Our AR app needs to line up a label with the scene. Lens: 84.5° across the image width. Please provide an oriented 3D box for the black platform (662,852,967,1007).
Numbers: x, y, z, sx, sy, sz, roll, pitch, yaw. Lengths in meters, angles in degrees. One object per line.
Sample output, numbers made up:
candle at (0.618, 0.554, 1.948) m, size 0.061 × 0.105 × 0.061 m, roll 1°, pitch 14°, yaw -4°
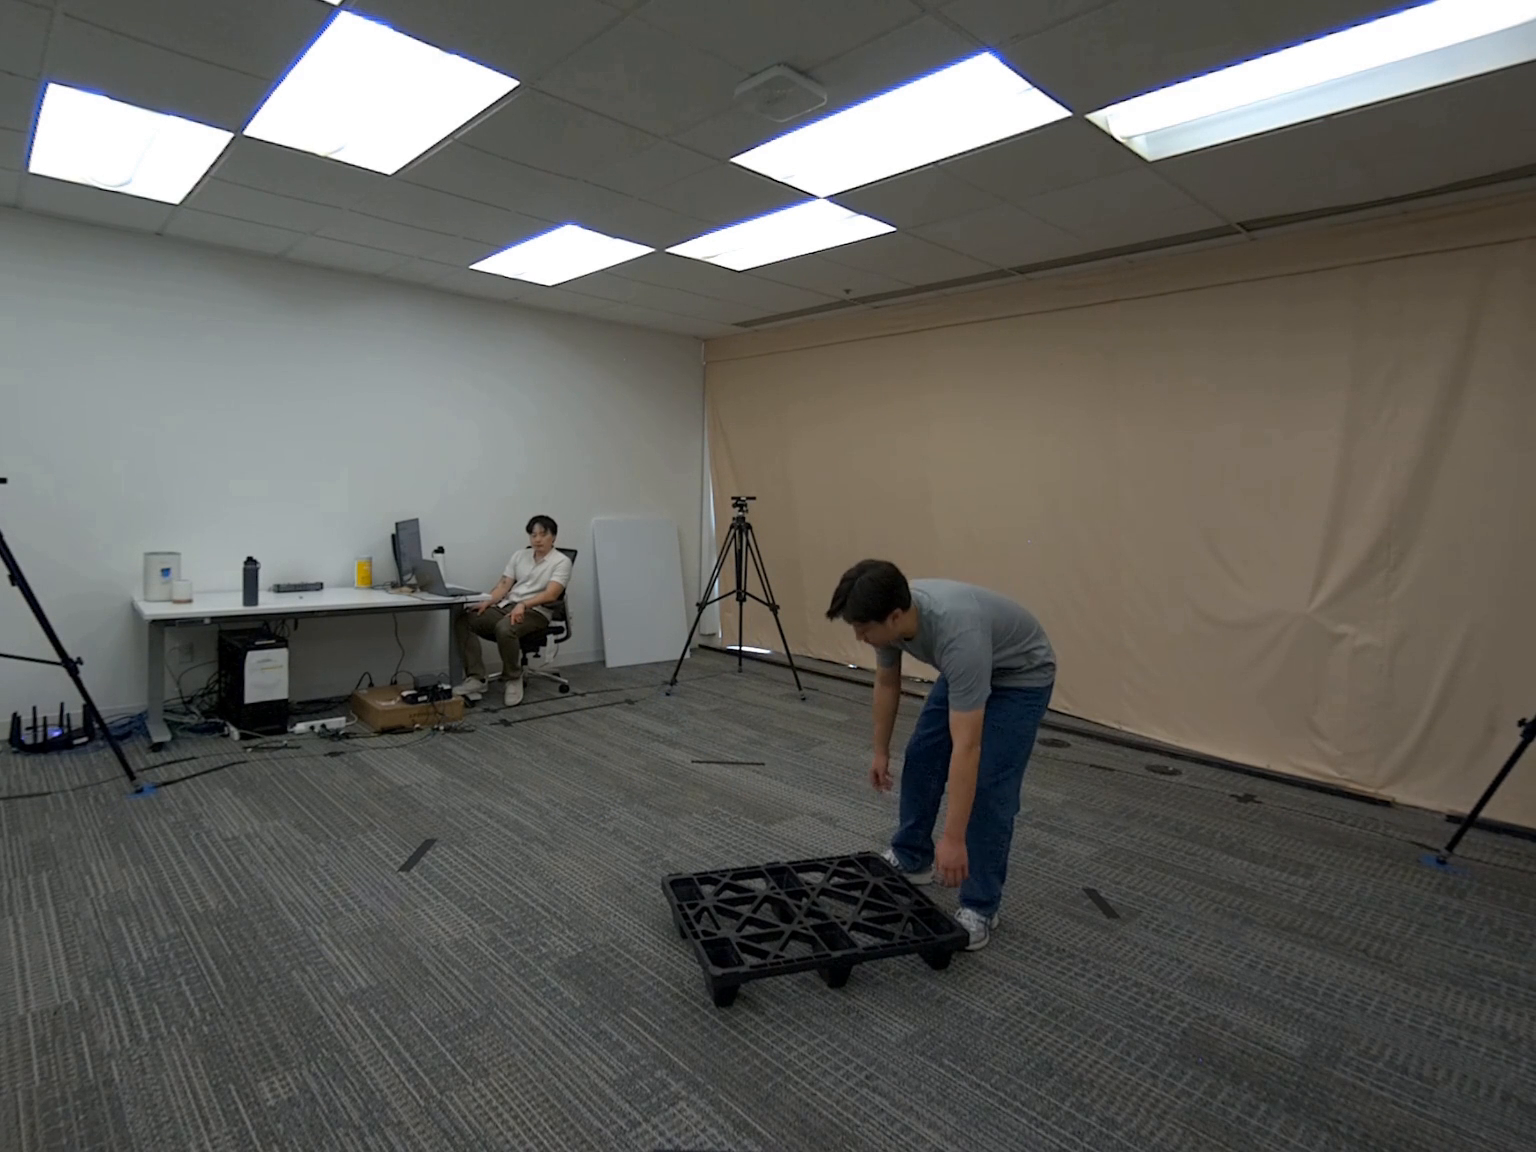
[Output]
black platform at (0.108, 1.090, 2.625) m, size 0.794 × 0.143 × 0.616 m, roll 0°, pitch 5°, yaw -19°
